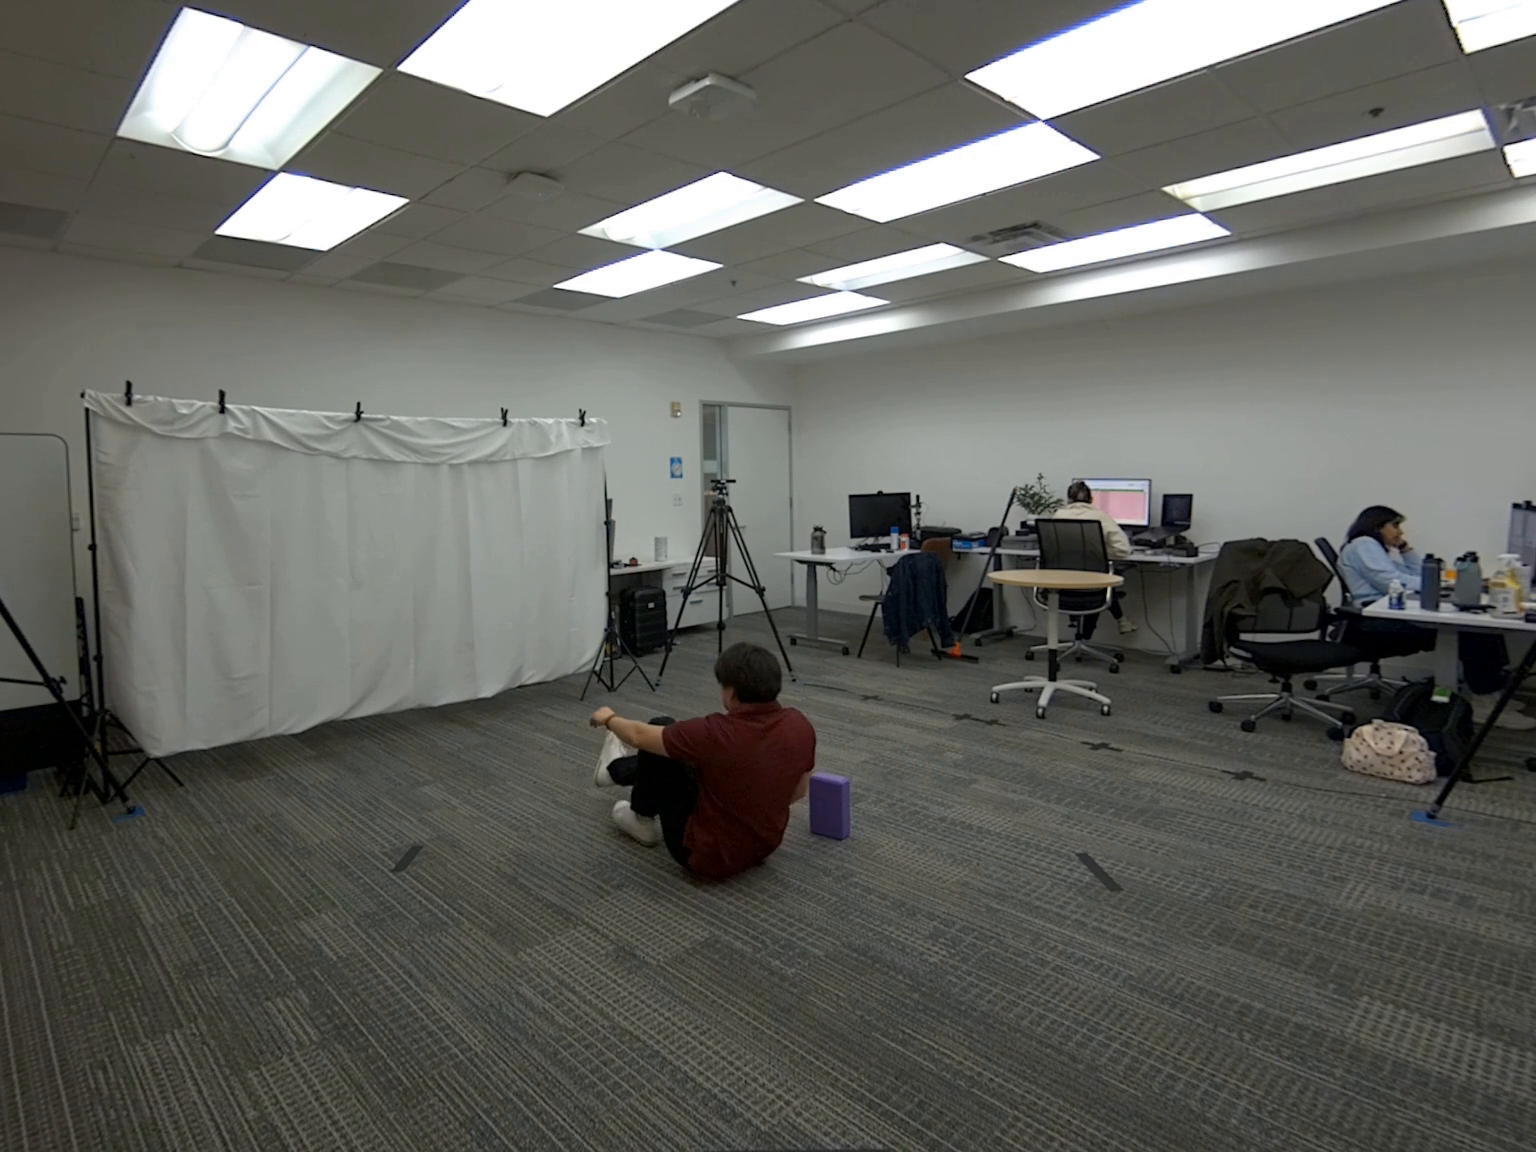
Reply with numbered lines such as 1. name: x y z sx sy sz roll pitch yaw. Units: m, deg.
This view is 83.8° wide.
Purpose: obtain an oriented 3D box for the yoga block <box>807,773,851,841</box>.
1. yoga block: 0.240 0.894 3.351 0.153 0.228 0.074 3 5 36
